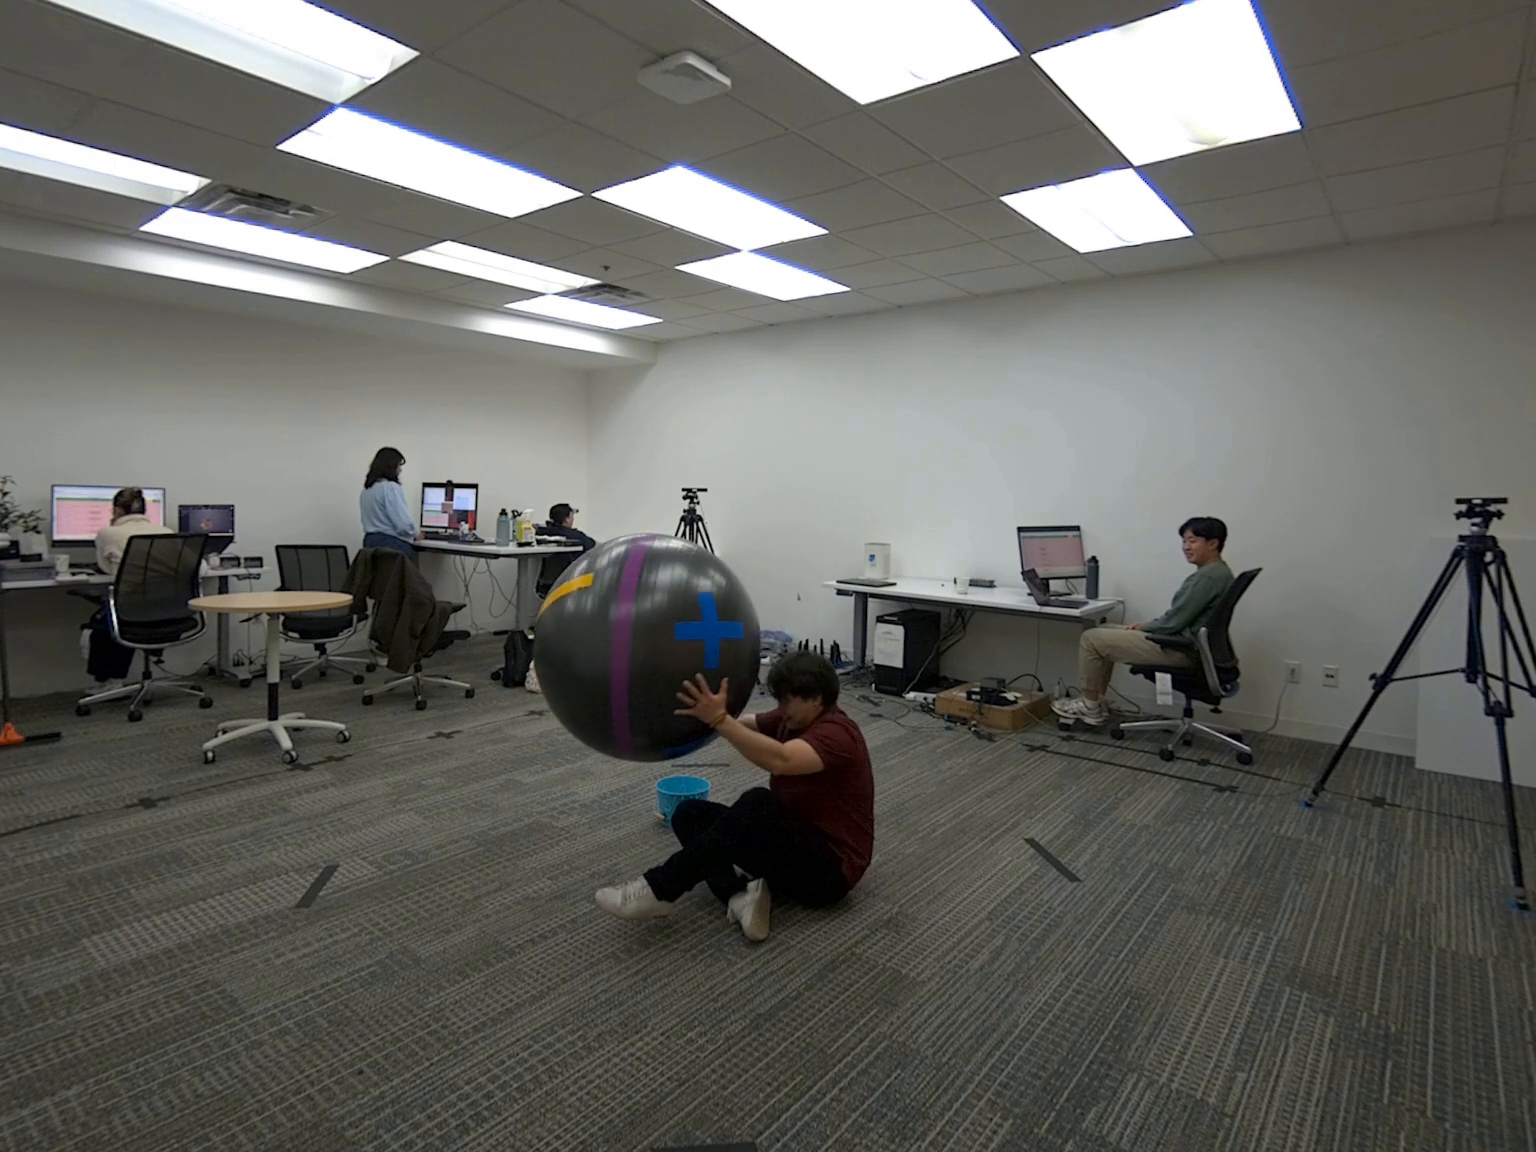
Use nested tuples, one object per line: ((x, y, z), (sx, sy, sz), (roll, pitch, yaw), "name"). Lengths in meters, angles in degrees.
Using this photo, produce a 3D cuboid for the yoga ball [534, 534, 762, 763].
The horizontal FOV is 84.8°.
((-0.424, 0.246, 2.852), (0.757, 0.755, 0.762), (1, 4, -2), "yoga ball")
